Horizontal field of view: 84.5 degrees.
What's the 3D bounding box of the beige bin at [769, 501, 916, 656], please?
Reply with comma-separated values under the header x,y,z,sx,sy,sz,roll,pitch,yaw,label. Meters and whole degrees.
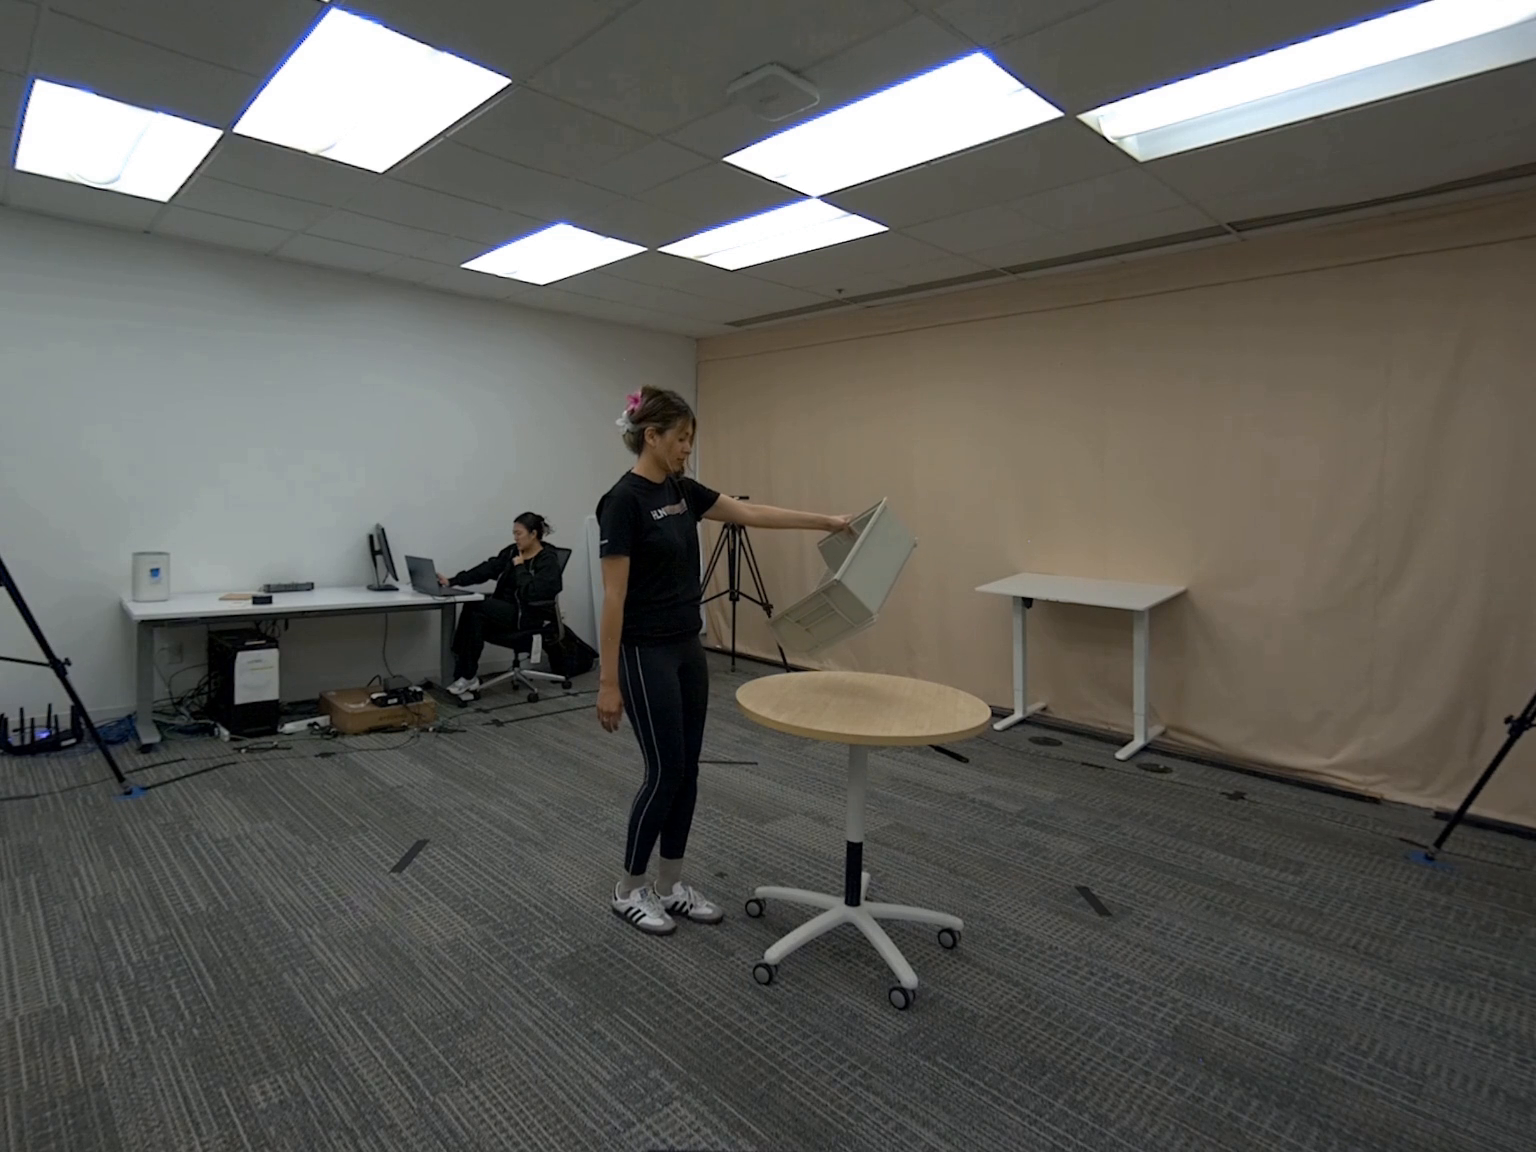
x,y,z,sx,sy,sz,roll,pitch,yaw,label
0.224,0.019,2.628,0.380,0.187,0.423,-35,14,46,beige bin
